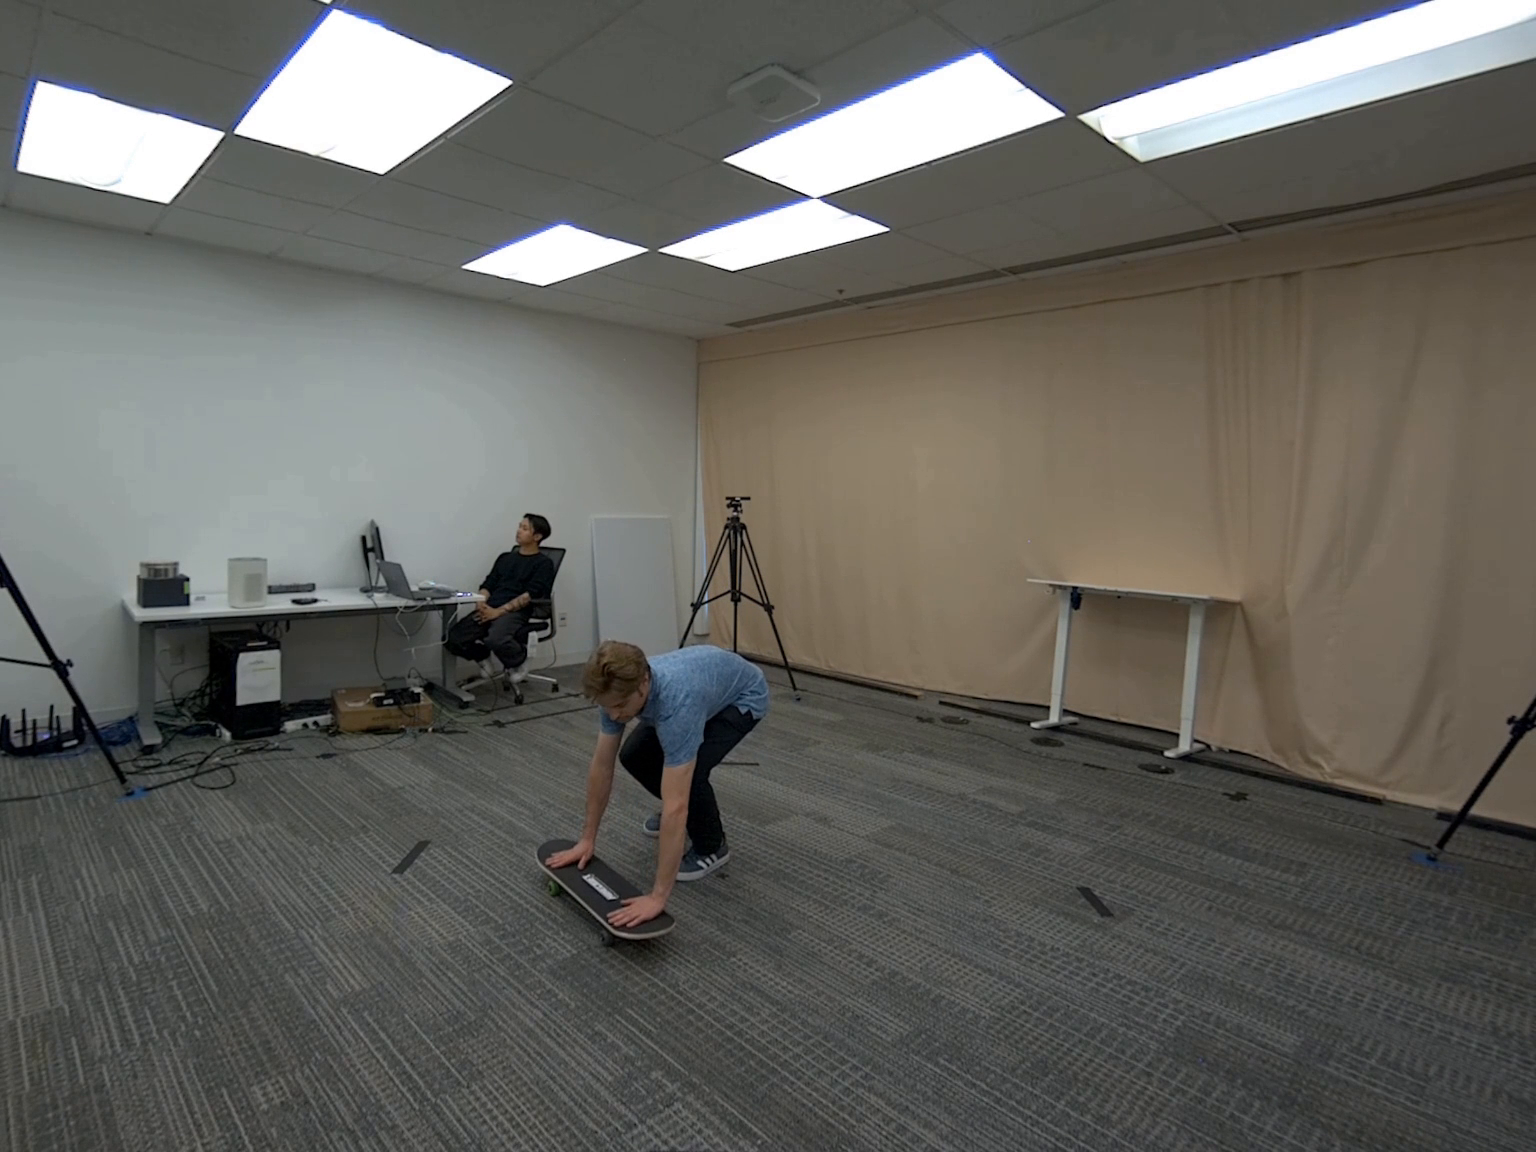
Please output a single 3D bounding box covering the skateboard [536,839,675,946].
[{"bbox_3d":[-0.572,1.072,2.810,0.189,0.110,0.805,-6,8,-36],"label":"skateboard"}]
